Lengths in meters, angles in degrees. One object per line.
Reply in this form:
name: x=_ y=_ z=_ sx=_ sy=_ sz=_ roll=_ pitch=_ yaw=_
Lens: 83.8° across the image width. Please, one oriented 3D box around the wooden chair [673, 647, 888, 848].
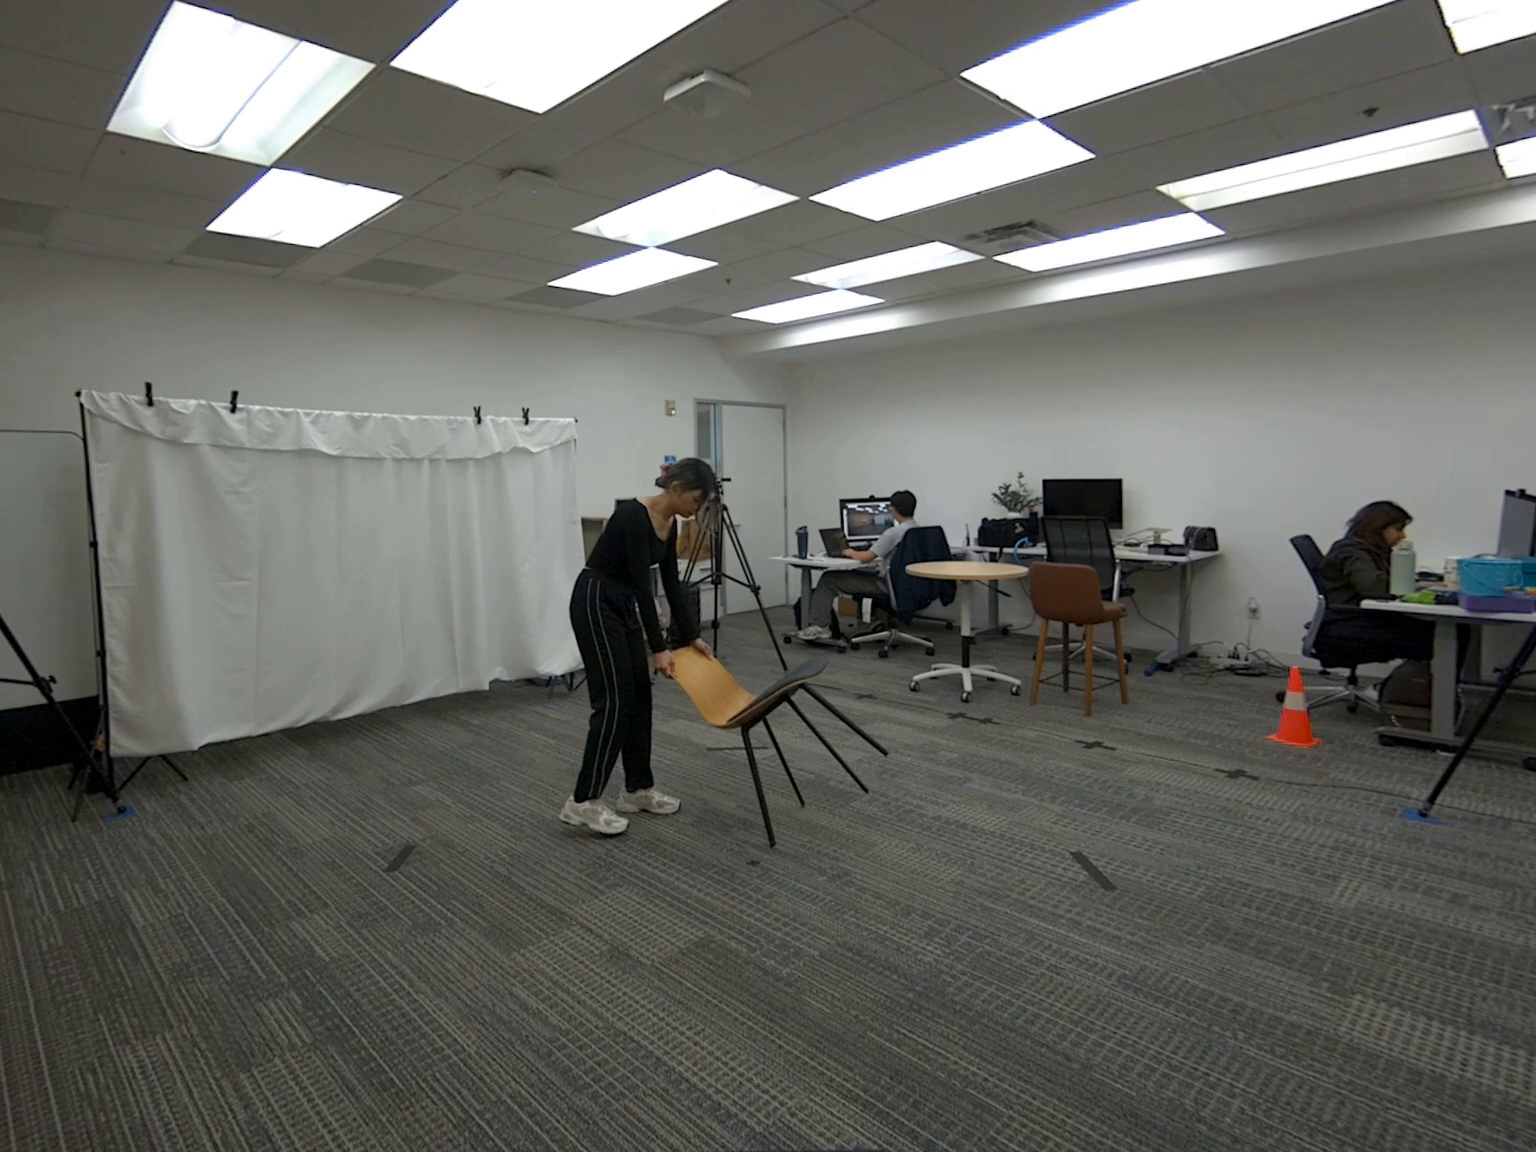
wooden chair: x=0.021 y=0.520 z=3.415 sx=0.524 sy=0.890 sz=0.470 roll=-41 pitch=-10 yaw=19
